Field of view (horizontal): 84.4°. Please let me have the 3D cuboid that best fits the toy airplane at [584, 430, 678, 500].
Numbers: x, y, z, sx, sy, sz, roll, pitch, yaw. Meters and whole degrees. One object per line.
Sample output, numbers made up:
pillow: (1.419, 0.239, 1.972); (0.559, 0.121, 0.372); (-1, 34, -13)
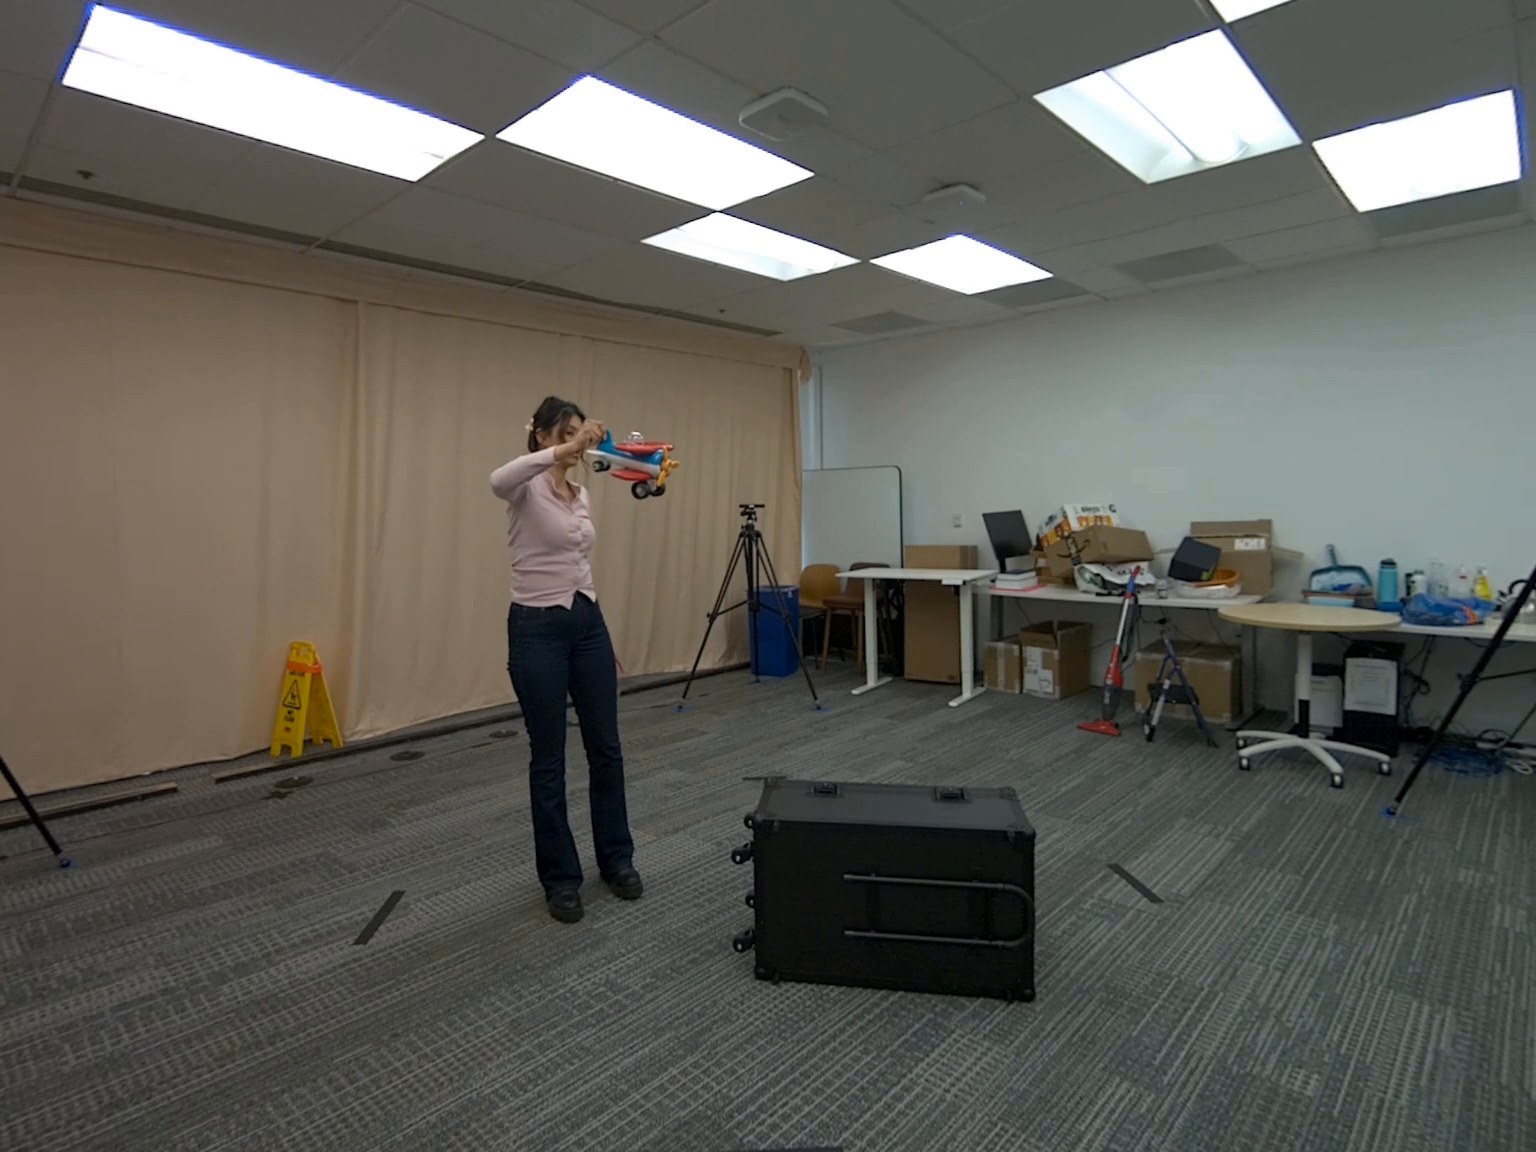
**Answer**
toy airplane: (-0.413, -0.337, 2.467); (0.257, 0.156, 0.254); (21, 20, -7)
